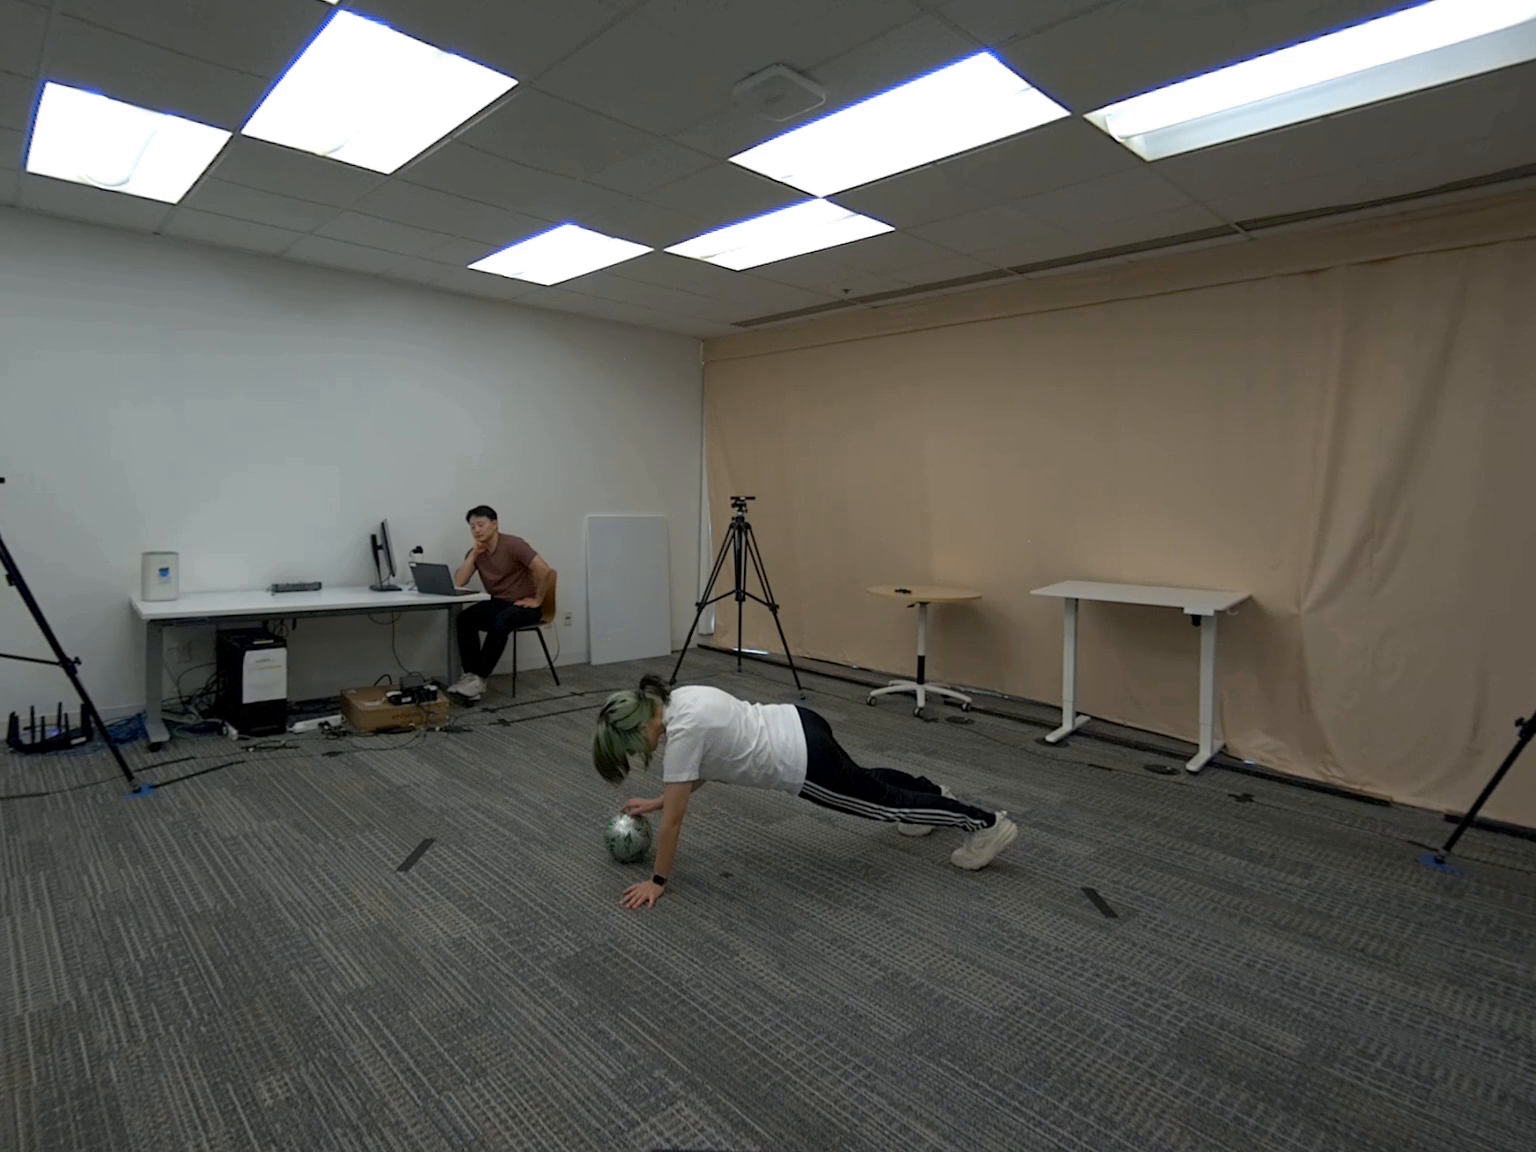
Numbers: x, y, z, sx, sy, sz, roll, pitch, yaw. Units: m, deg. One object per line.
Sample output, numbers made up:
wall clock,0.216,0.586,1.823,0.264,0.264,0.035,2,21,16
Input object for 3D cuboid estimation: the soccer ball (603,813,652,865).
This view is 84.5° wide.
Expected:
soccer ball,-0.535,0.987,3.214,0.187,0.187,0.188,1,4,-1
